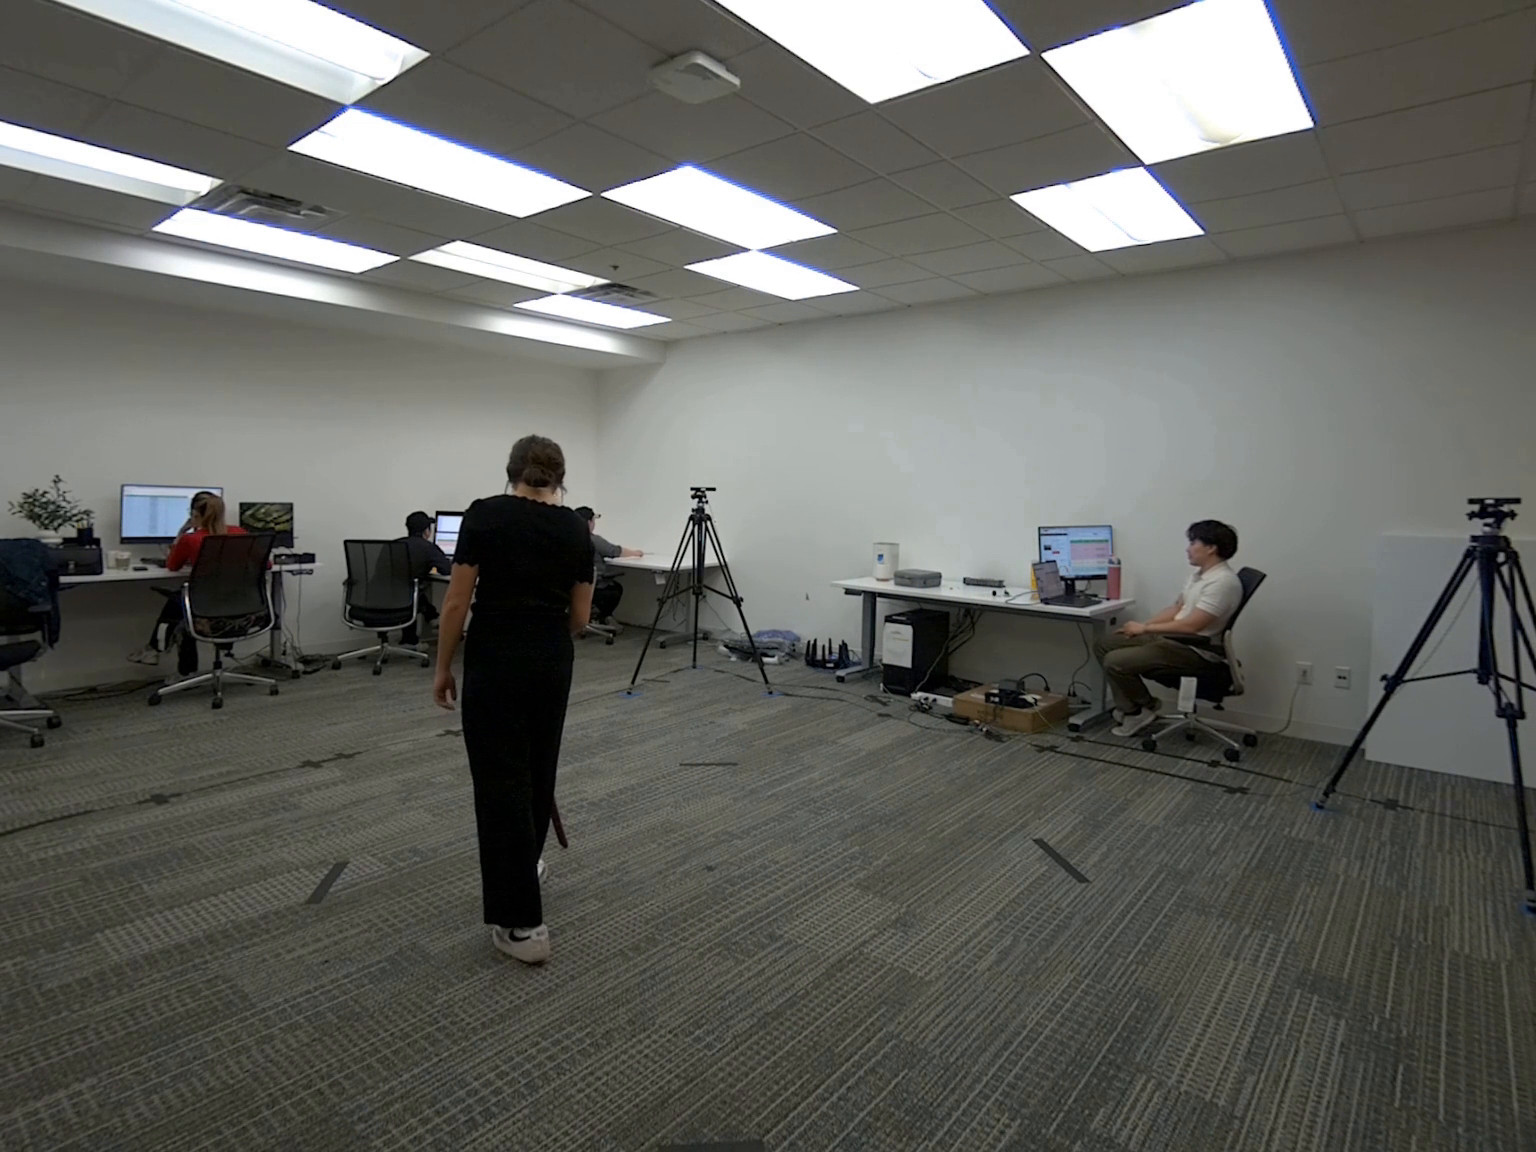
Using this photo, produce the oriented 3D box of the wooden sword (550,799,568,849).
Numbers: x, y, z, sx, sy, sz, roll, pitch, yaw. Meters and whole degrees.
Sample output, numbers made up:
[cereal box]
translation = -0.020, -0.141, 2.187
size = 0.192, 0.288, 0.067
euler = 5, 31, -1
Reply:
[wooden sword]
translation = -0.836, 0.594, 3.074
size = 0.051, 1.002, 0.025
euler = -9, 24, -11
